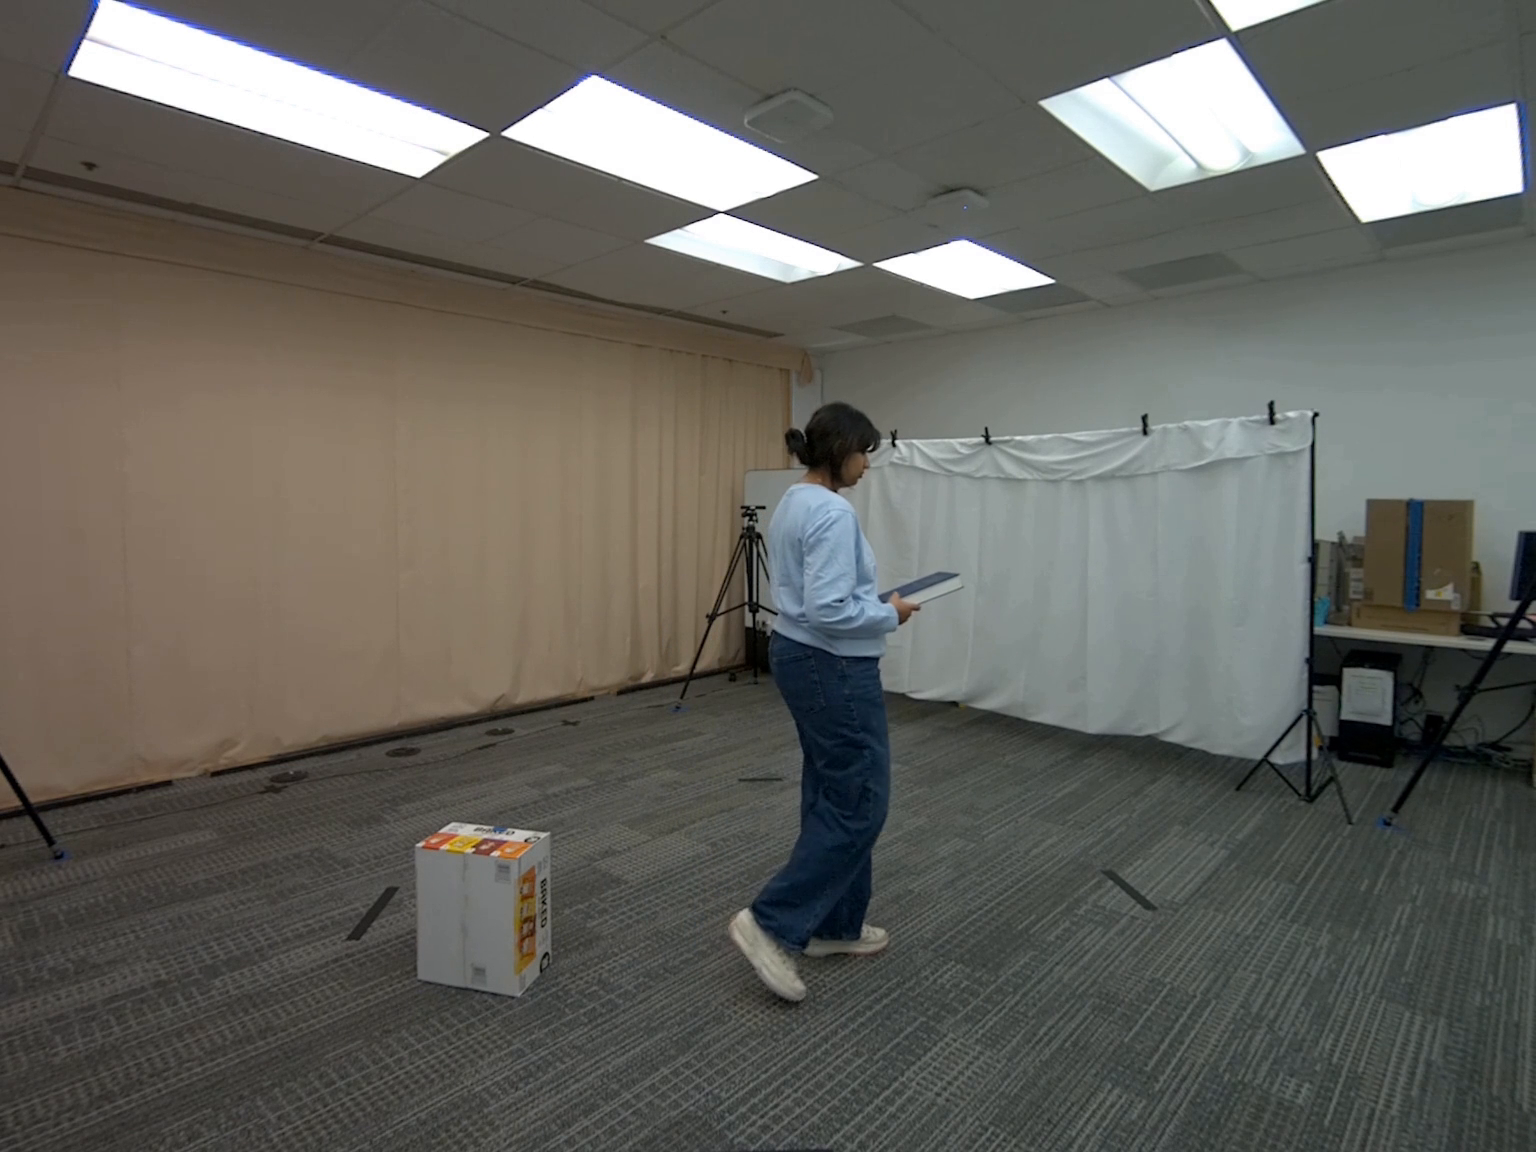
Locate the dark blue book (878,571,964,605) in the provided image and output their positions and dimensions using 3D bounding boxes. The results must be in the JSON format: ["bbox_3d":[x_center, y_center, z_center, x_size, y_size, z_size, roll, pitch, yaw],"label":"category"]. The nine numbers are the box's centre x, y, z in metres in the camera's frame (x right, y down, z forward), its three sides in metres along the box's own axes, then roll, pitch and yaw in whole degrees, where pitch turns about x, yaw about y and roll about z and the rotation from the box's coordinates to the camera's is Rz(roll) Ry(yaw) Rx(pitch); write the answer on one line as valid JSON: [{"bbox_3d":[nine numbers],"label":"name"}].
[{"bbox_3d":[0.463,0.054,2.568,0.243,0.045,0.165,-20,6,-9],"label":"dark blue book"}]
